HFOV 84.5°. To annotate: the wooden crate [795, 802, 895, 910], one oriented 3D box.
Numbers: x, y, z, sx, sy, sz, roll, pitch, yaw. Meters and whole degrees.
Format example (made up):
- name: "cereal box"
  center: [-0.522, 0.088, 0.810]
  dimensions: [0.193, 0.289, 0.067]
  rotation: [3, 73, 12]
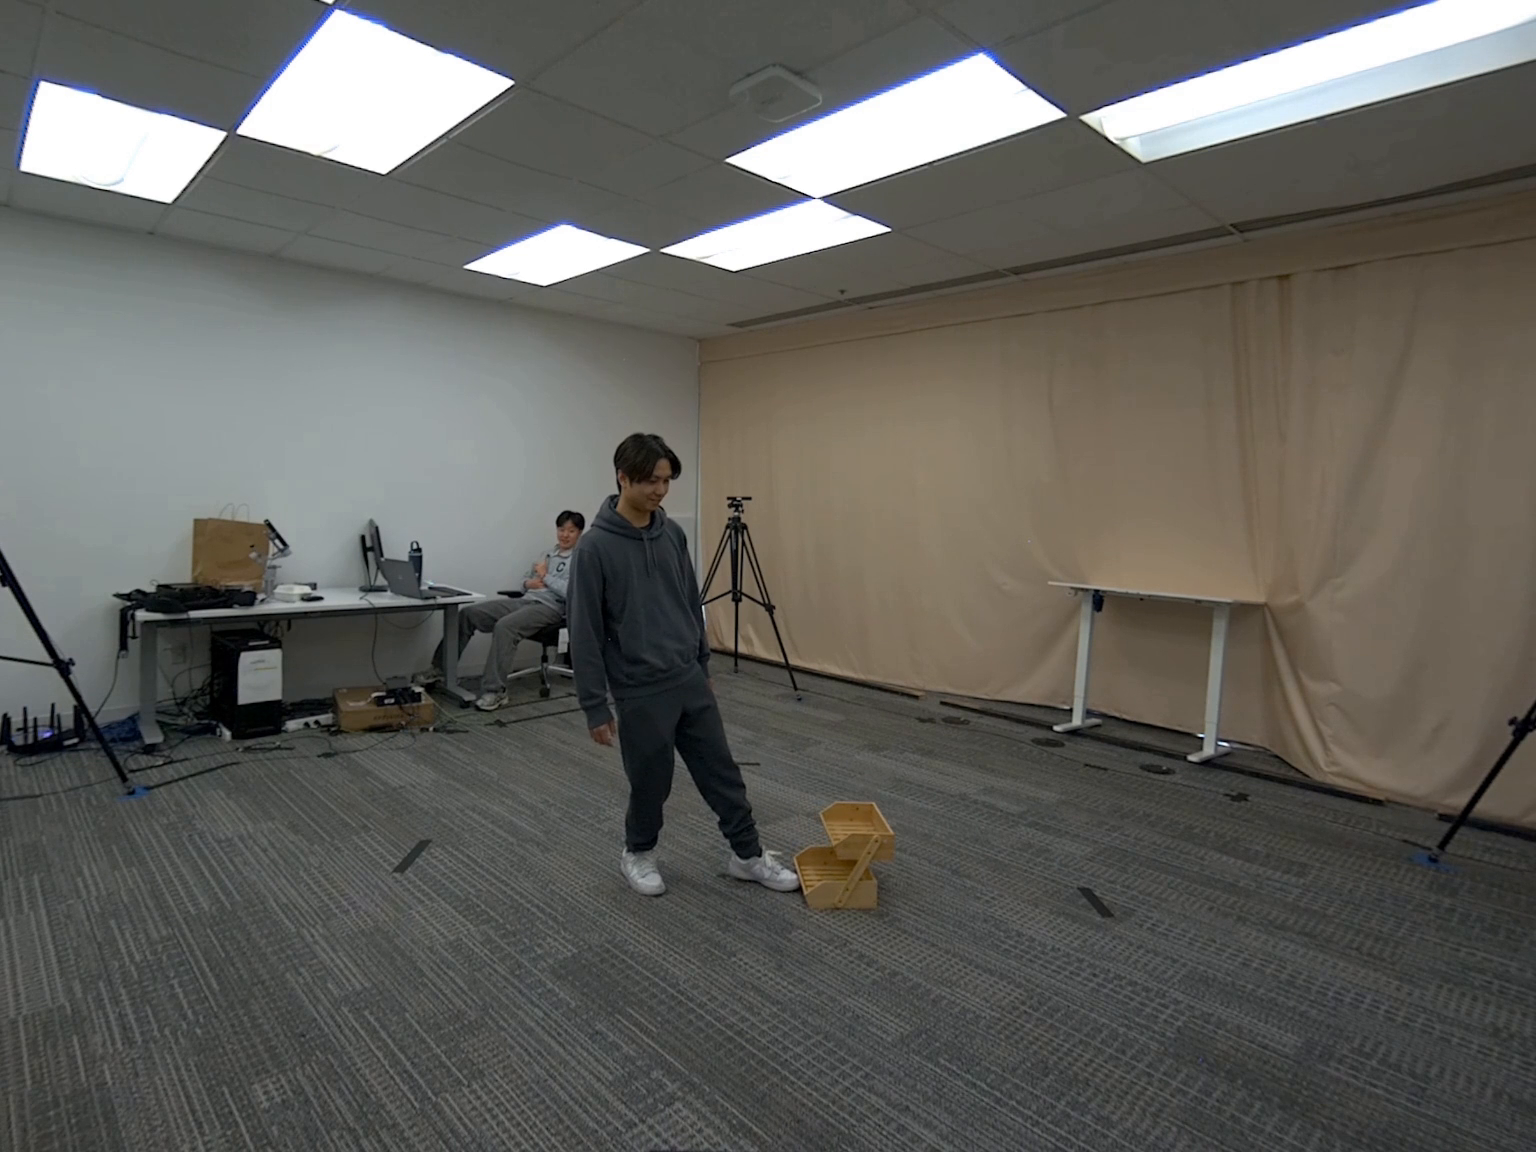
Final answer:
- name: "wooden crate"
  center: [0.253, 0.985, 3.016]
  dimensions: [0.301, 0.272, 0.326]
  rotation: [2, 4, -5]
